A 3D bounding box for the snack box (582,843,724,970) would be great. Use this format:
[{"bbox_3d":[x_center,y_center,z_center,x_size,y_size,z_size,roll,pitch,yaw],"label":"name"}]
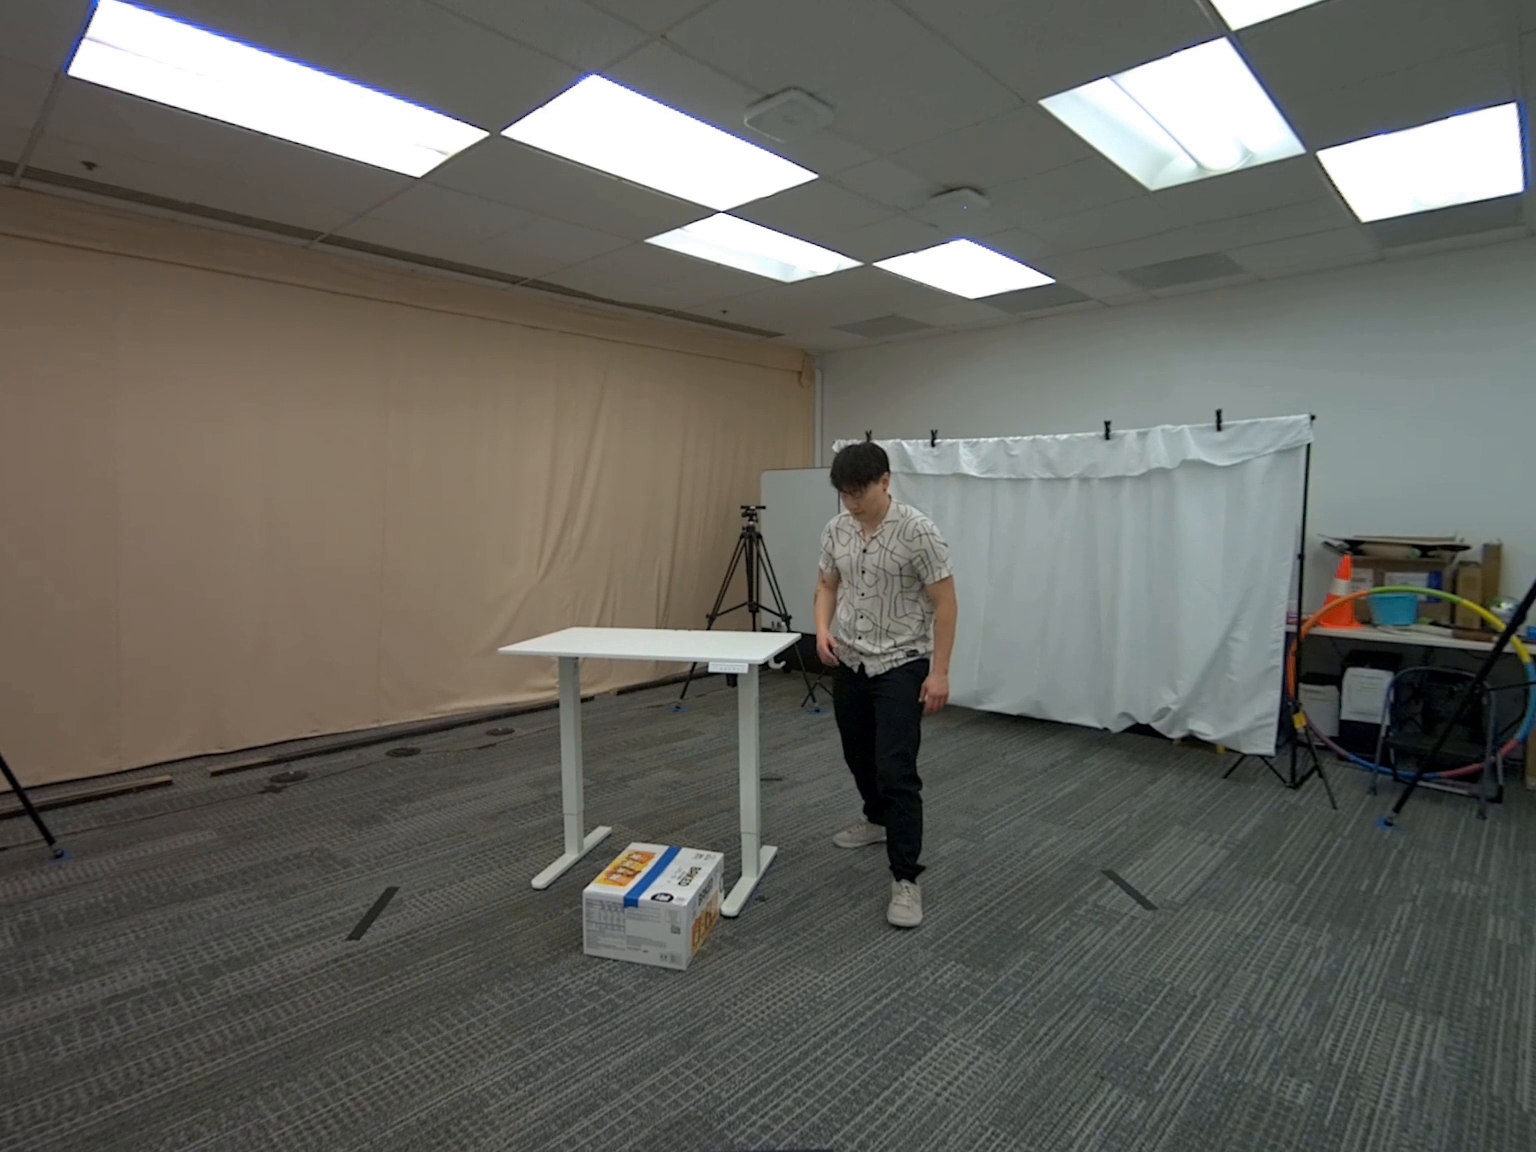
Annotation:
[{"bbox_3d":[-0.362,1.065,2.744,0.346,0.205,0.399,1,4,15],"label":"snack box"}]
